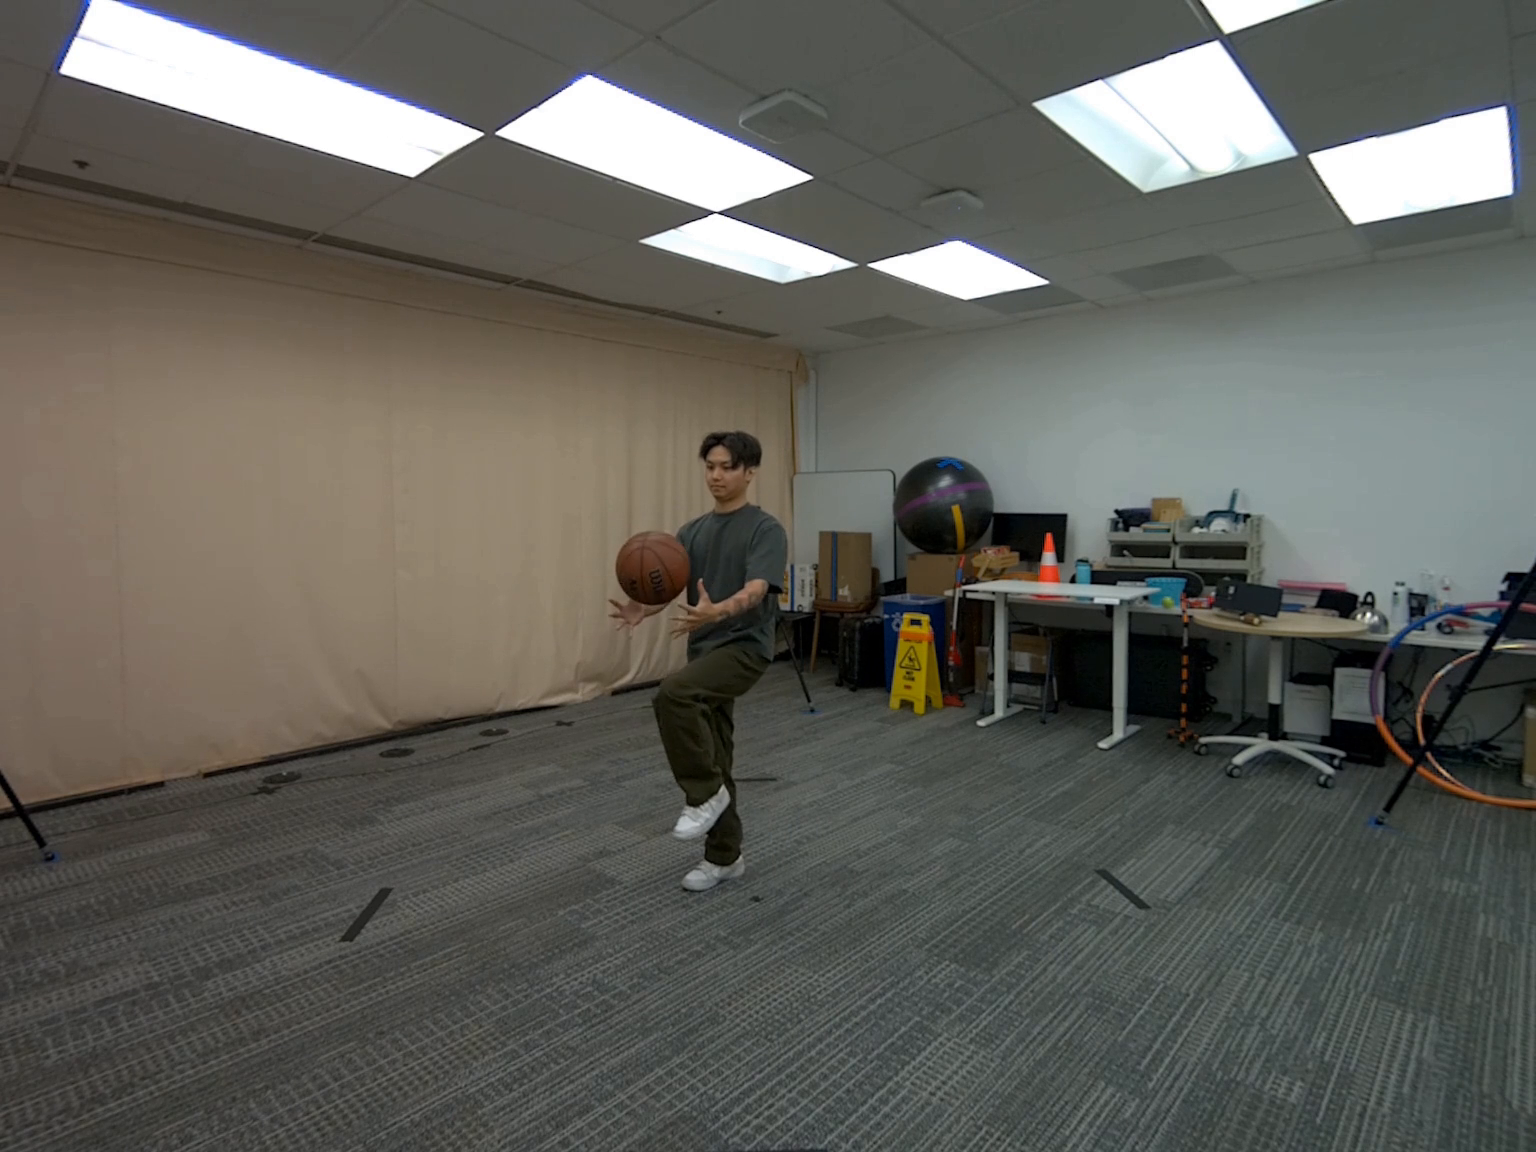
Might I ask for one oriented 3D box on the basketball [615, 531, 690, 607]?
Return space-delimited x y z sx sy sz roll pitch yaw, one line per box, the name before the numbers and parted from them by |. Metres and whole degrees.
basketball | -0.372 0.006 2.690 0.236 0.235 0.237 0 4 -2
